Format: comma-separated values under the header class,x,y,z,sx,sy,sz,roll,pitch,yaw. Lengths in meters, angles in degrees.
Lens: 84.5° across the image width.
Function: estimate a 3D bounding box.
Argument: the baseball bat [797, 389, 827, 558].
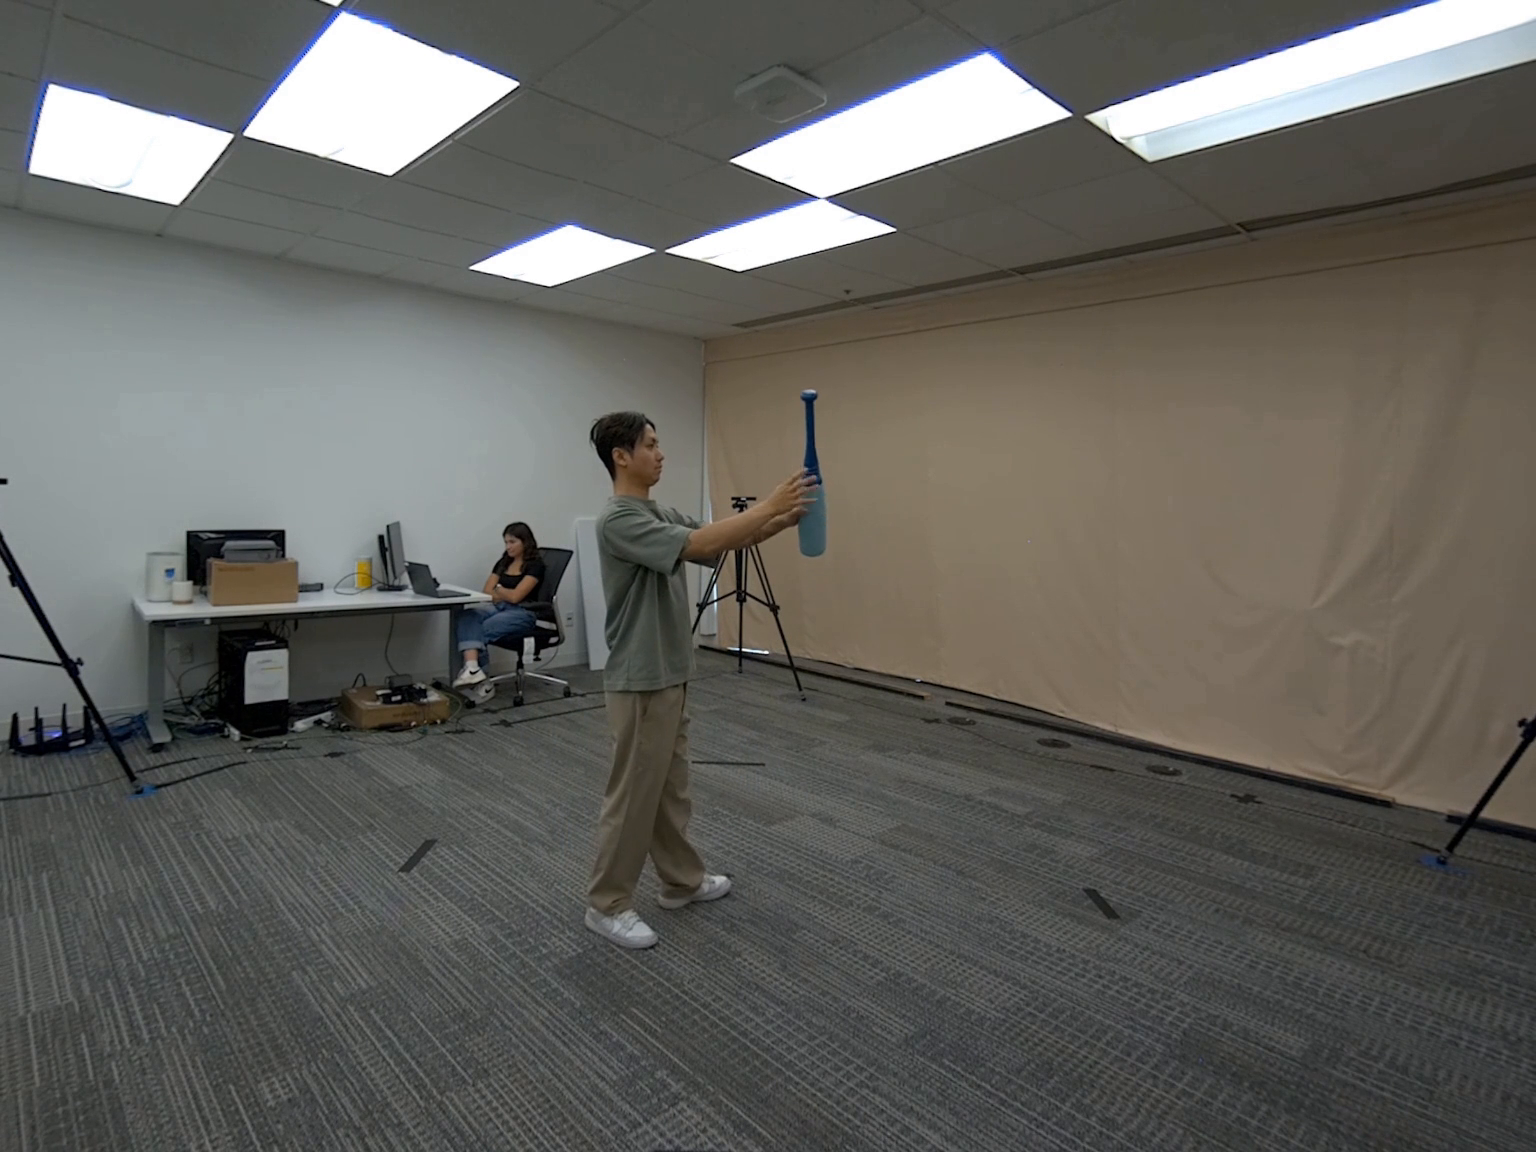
class,x,y,z,sx,sy,sz,roll,pitch,yaw
baseball bat,0.126,-0.303,2.539,0.089,0.532,0.091,-2,31,0
